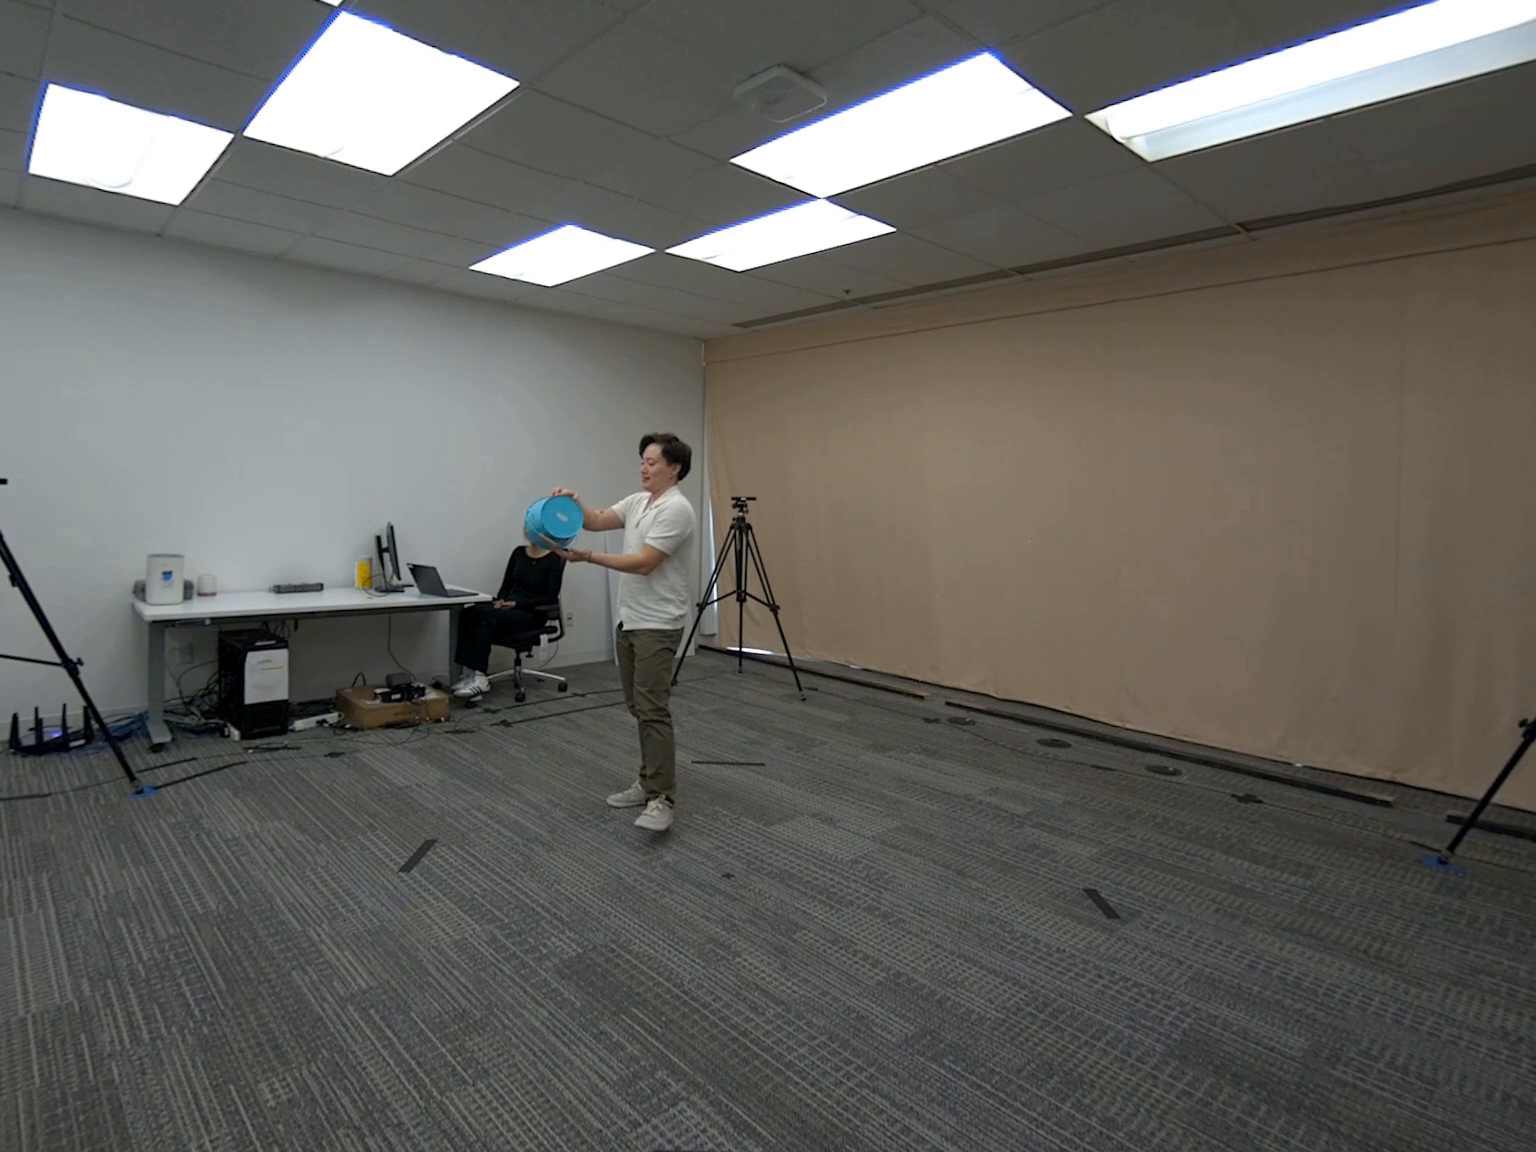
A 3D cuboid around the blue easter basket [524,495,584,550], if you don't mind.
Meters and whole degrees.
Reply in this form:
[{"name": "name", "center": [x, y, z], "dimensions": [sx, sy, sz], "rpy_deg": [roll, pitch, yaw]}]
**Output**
[{"name": "blue easter basket", "center": [-0.900, -0.228, 3.527], "dimensions": [0.238, 0.245, 0.158], "rpy_deg": [-1, -9, -32]}]
